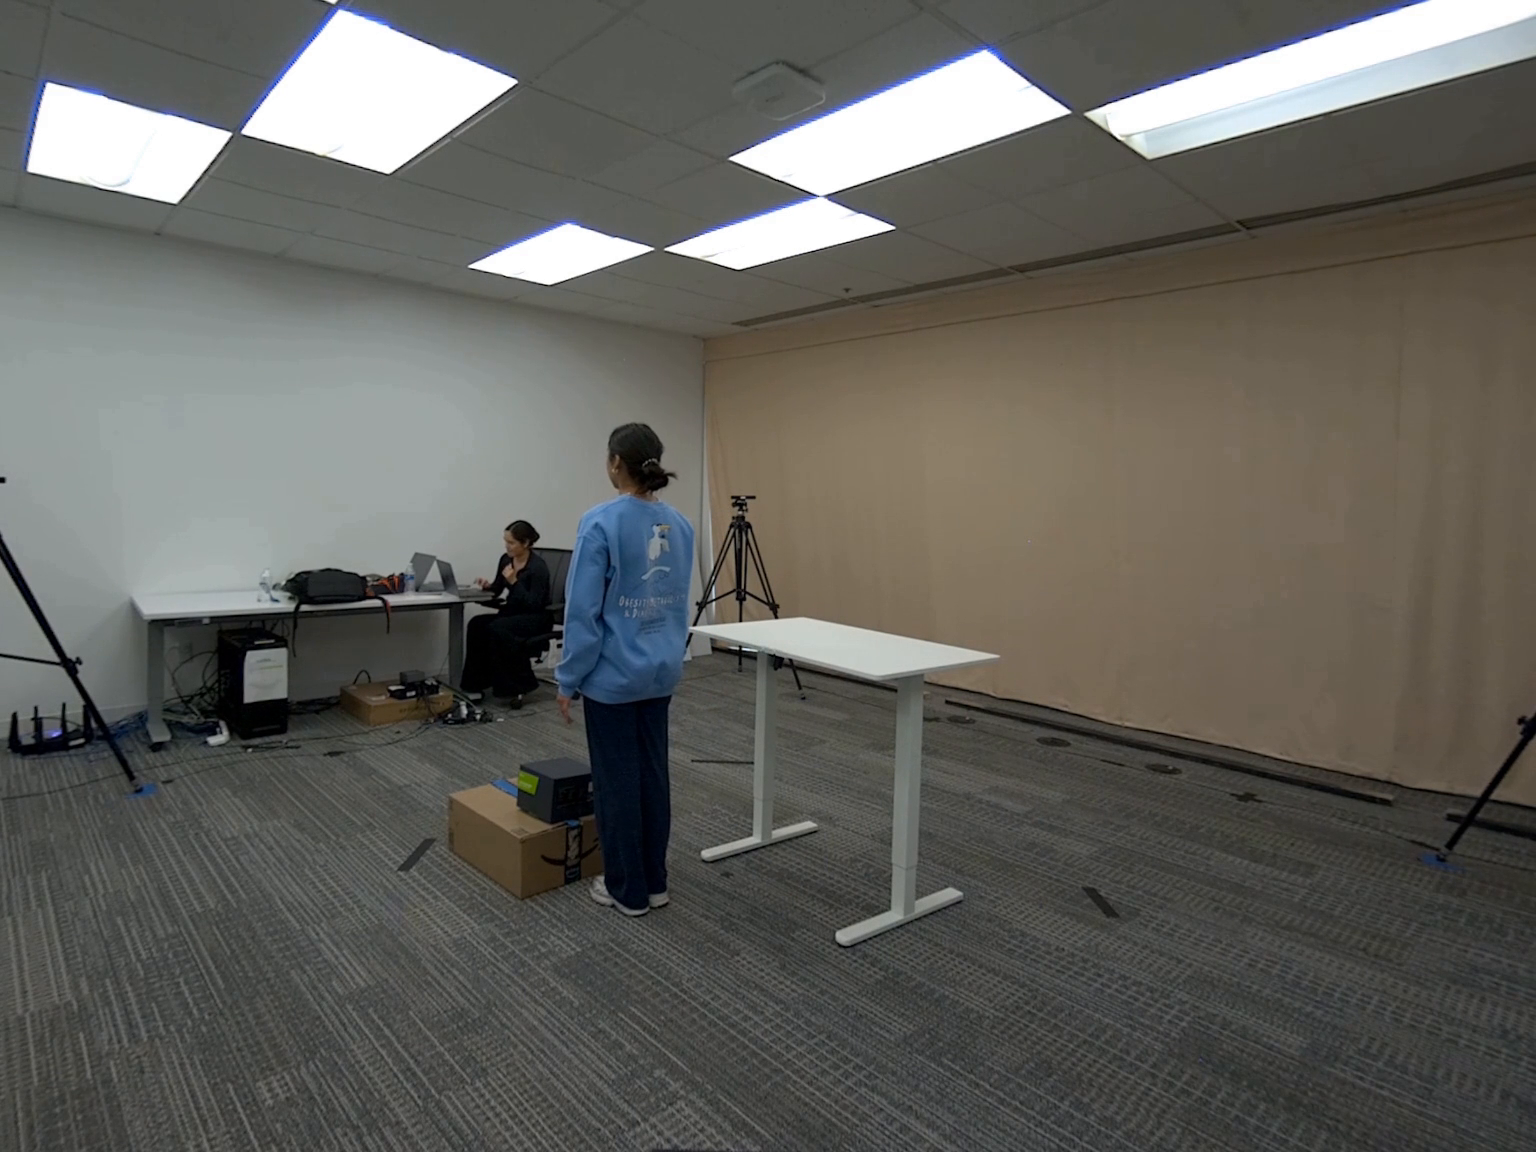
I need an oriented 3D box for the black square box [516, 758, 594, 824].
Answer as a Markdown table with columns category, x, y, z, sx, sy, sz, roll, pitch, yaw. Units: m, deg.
| category | x | y | z | sx | sy | sz | roll | pitch | yaw |
| --- | --- | --- | --- | --- | --- | --- | --- | --- | --- |
| black square box | -0.773 | 0.781 | 3.112 | 0.234 | 0.156 | 0.211 | 6 | 2 | 42 |
